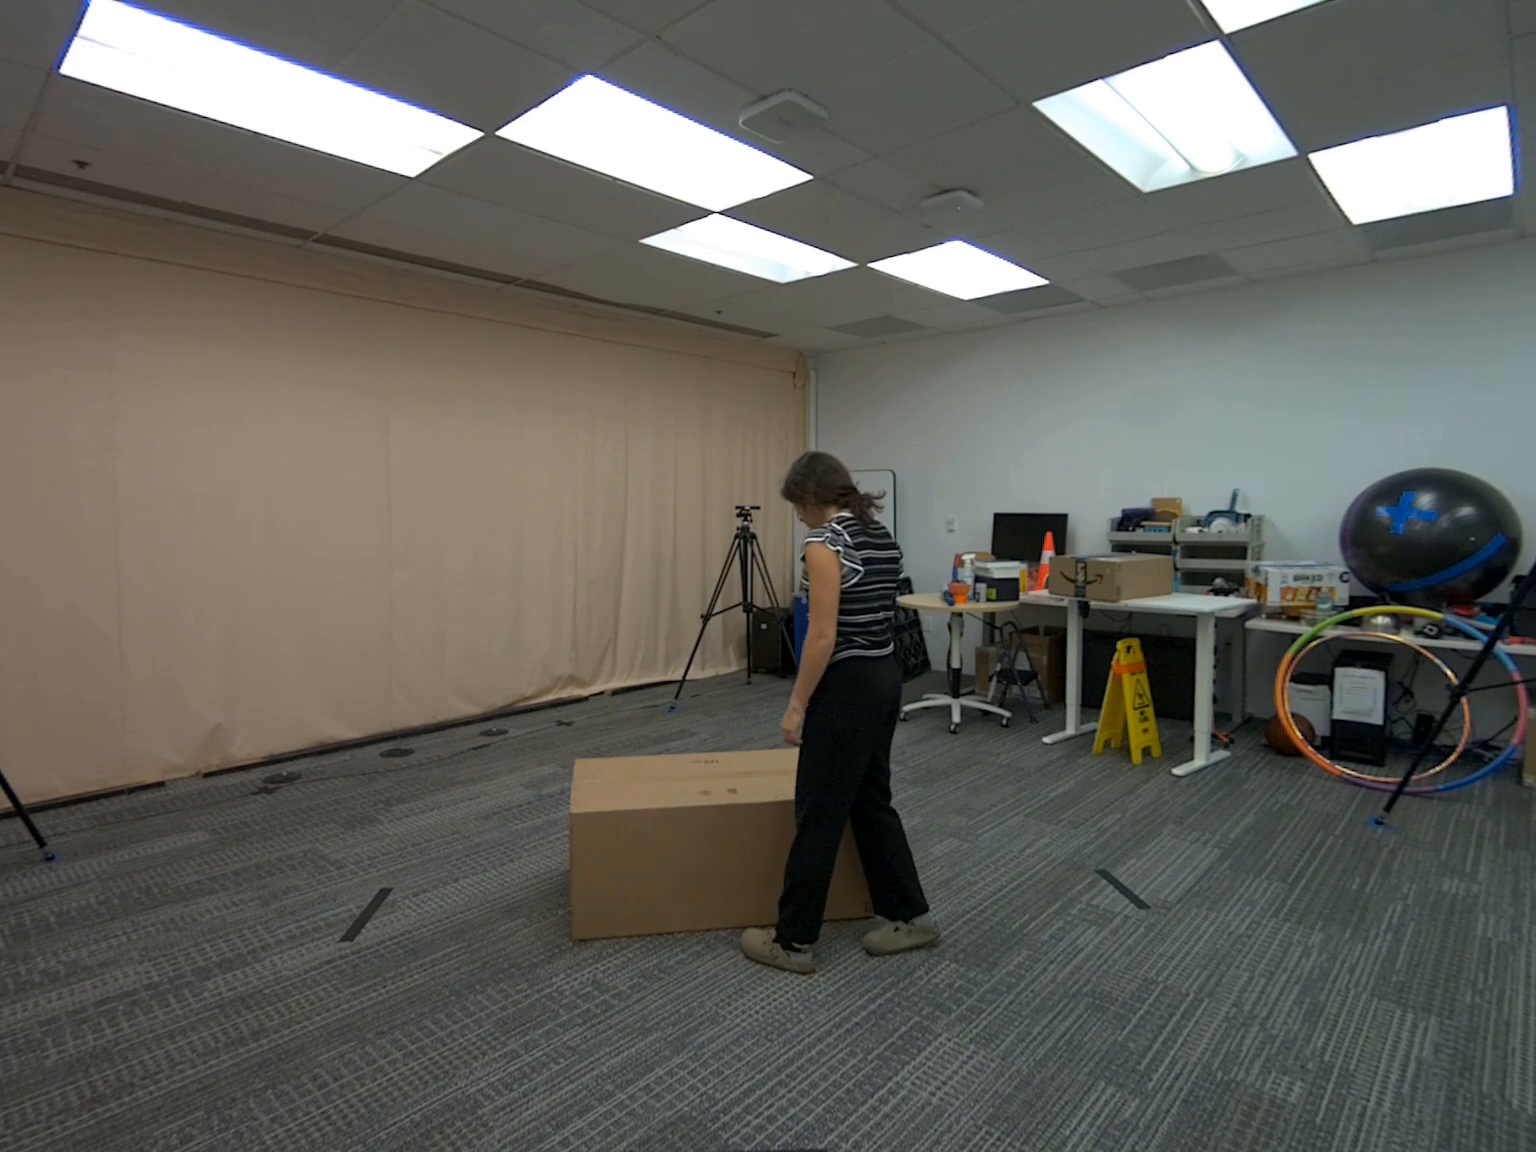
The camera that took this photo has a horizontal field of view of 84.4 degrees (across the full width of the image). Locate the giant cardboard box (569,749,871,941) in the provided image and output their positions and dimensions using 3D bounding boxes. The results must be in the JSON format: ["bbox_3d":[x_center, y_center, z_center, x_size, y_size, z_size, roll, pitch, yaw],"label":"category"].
[{"bbox_3d":[-0.191,0.929,3.042,1.016,0.425,0.584,-1,5,-9],"label":"giant cardboard box"}]
